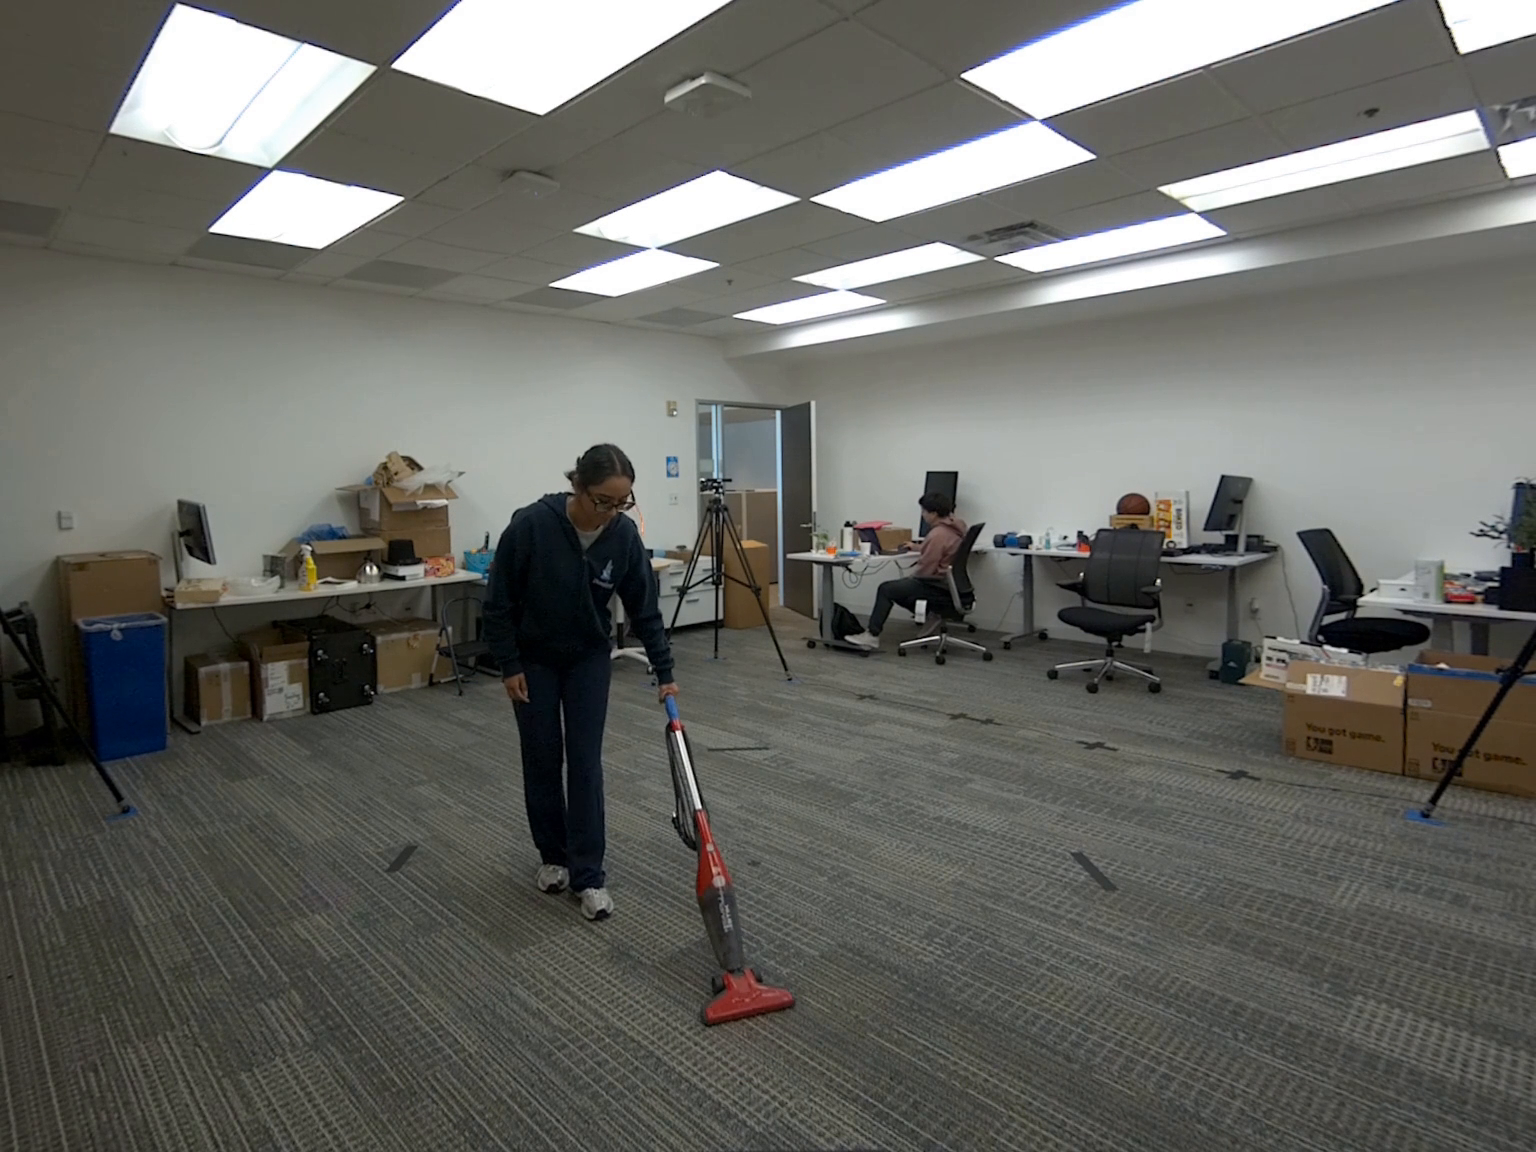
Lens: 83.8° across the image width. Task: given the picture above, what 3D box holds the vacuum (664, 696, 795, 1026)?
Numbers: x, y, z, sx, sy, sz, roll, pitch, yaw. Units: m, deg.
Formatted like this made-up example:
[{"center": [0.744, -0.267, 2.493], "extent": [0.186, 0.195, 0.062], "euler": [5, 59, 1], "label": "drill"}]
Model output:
[{"center": [-0.210, 0.764, 2.642], "extent": [0.248, 0.141, 1.088], "euler": [-2, 43, -21], "label": "vacuum"}]
